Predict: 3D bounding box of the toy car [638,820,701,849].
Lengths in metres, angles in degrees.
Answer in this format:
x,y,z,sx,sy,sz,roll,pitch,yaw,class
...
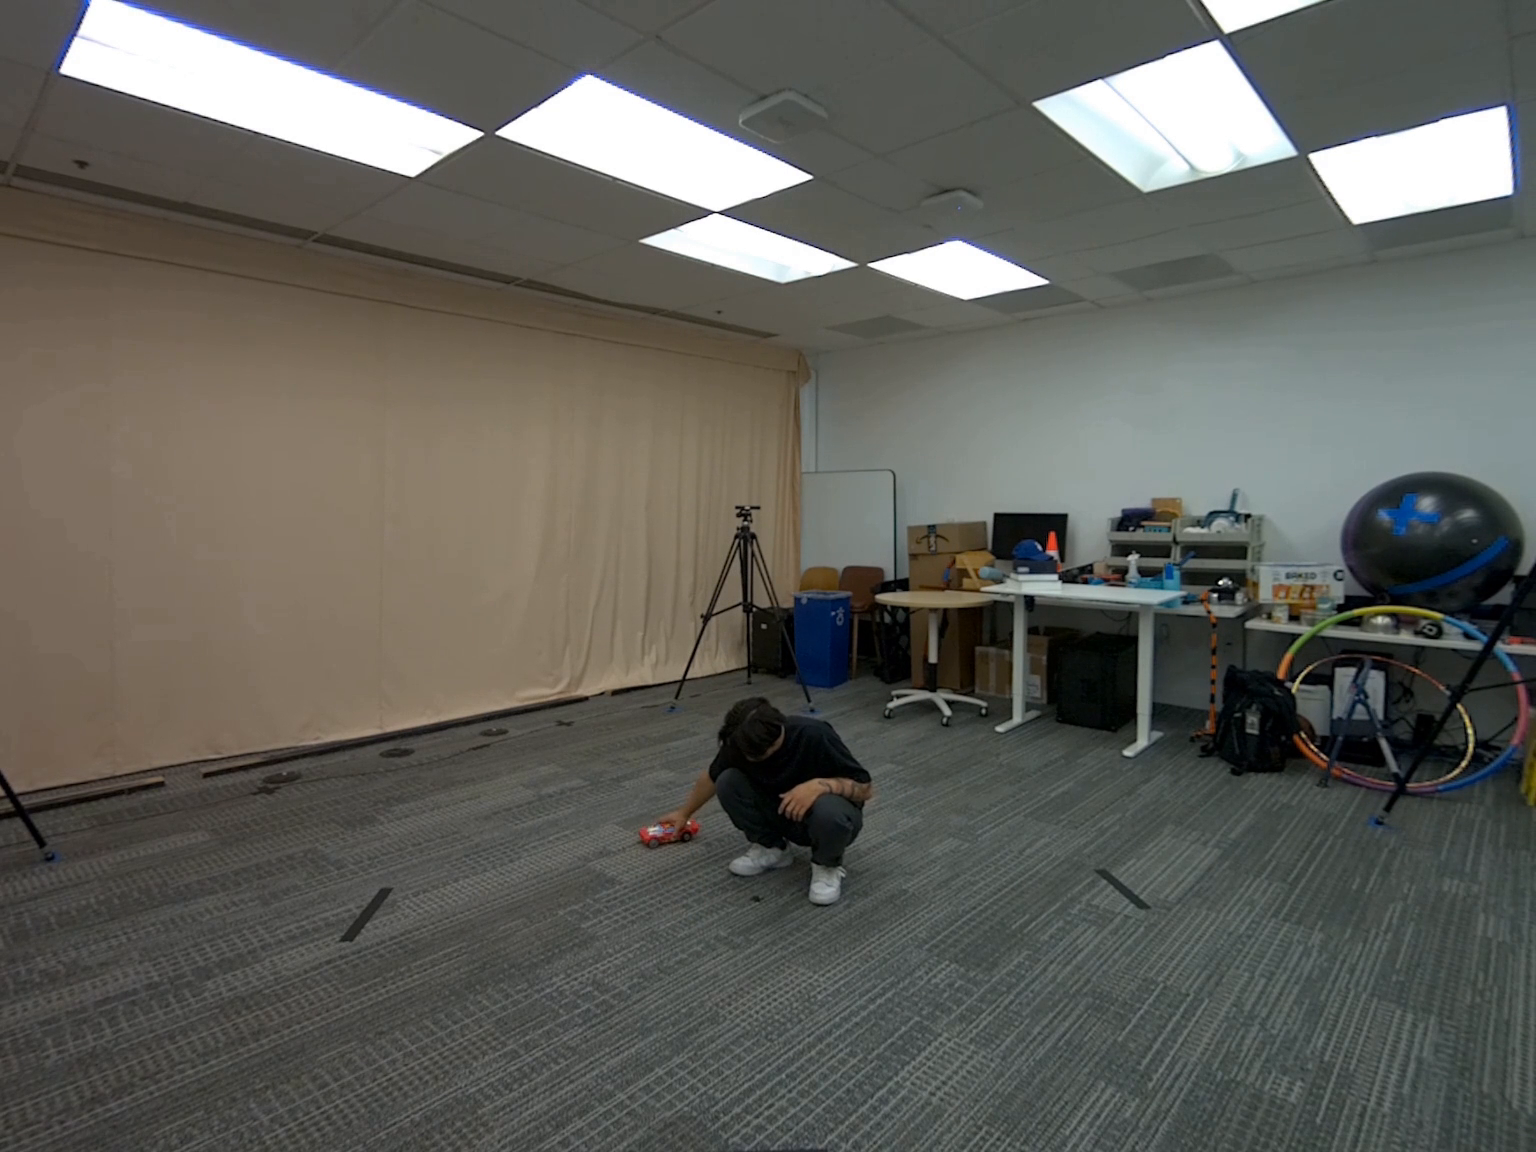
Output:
x,y,z,sx,sy,sz,roll,pitch,yaw,class
-0.411,1.067,3.515,0.250,0.083,0.133,-12,9,-22,toy car
